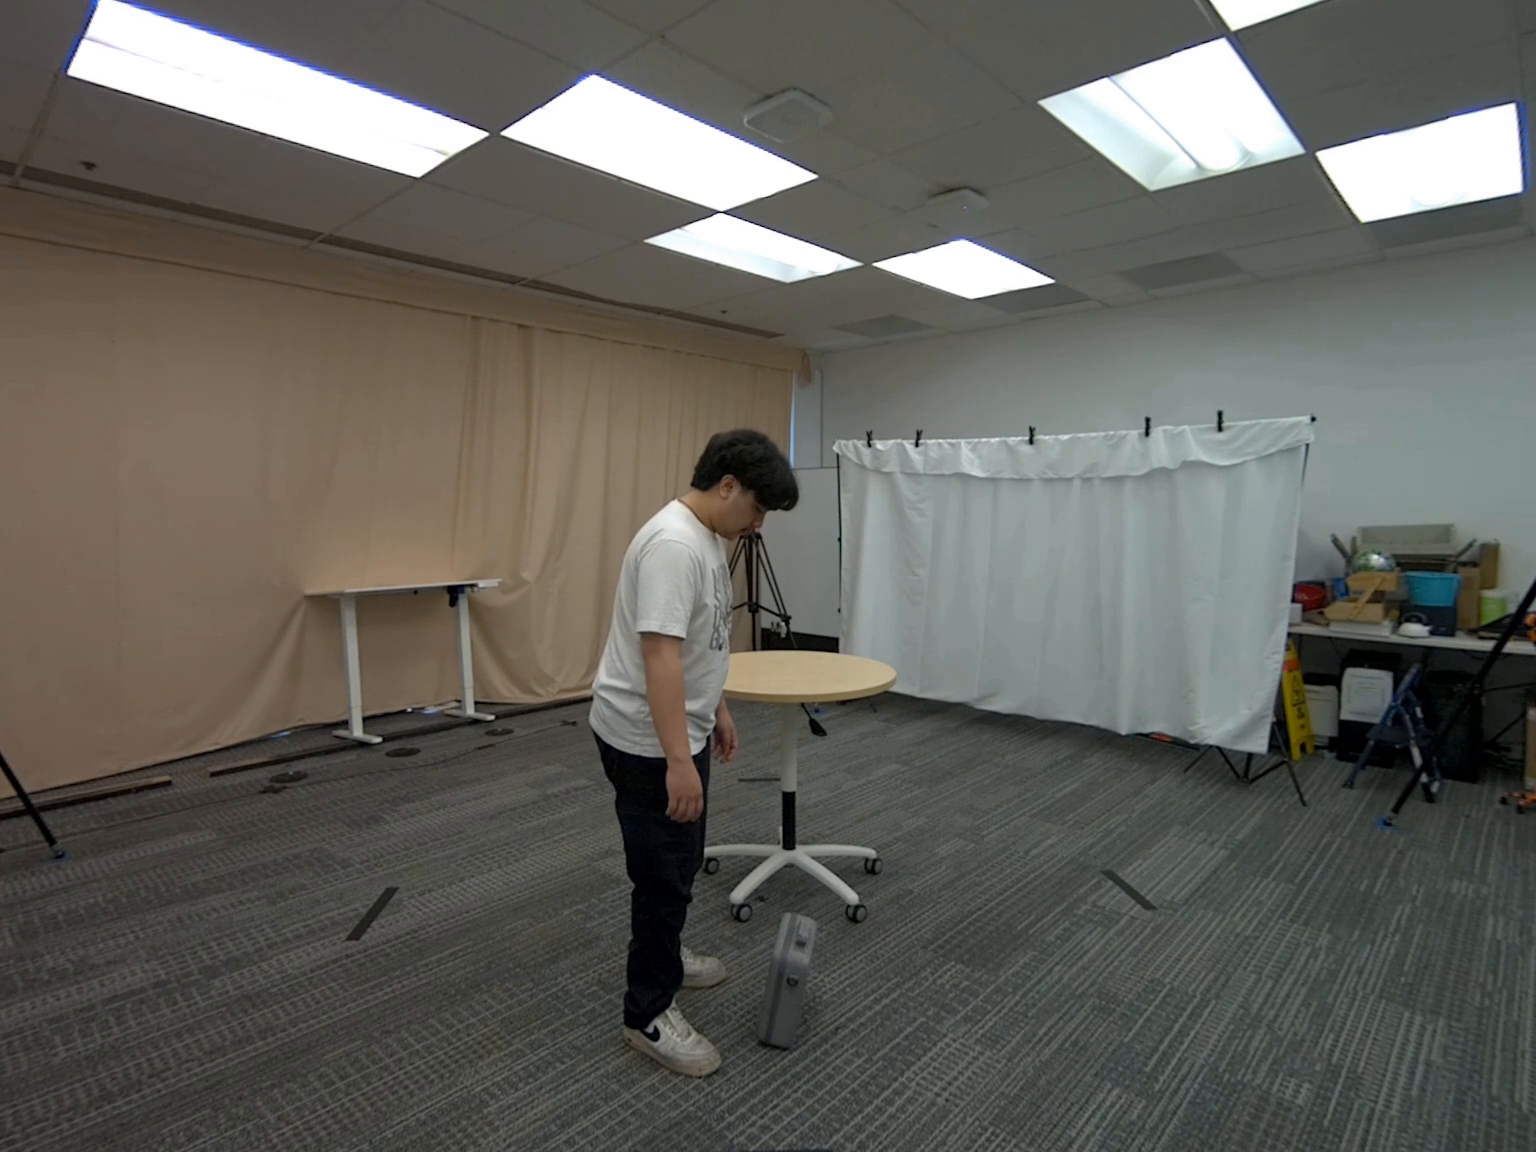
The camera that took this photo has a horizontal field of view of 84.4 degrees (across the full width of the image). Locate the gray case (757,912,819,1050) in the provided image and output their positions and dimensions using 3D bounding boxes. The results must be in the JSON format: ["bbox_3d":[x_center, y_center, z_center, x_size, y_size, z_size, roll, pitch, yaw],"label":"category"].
[{"bbox_3d":[0.066,1.082,2.254,0.105,0.260,0.255,13,5,6],"label":"gray case"}]
